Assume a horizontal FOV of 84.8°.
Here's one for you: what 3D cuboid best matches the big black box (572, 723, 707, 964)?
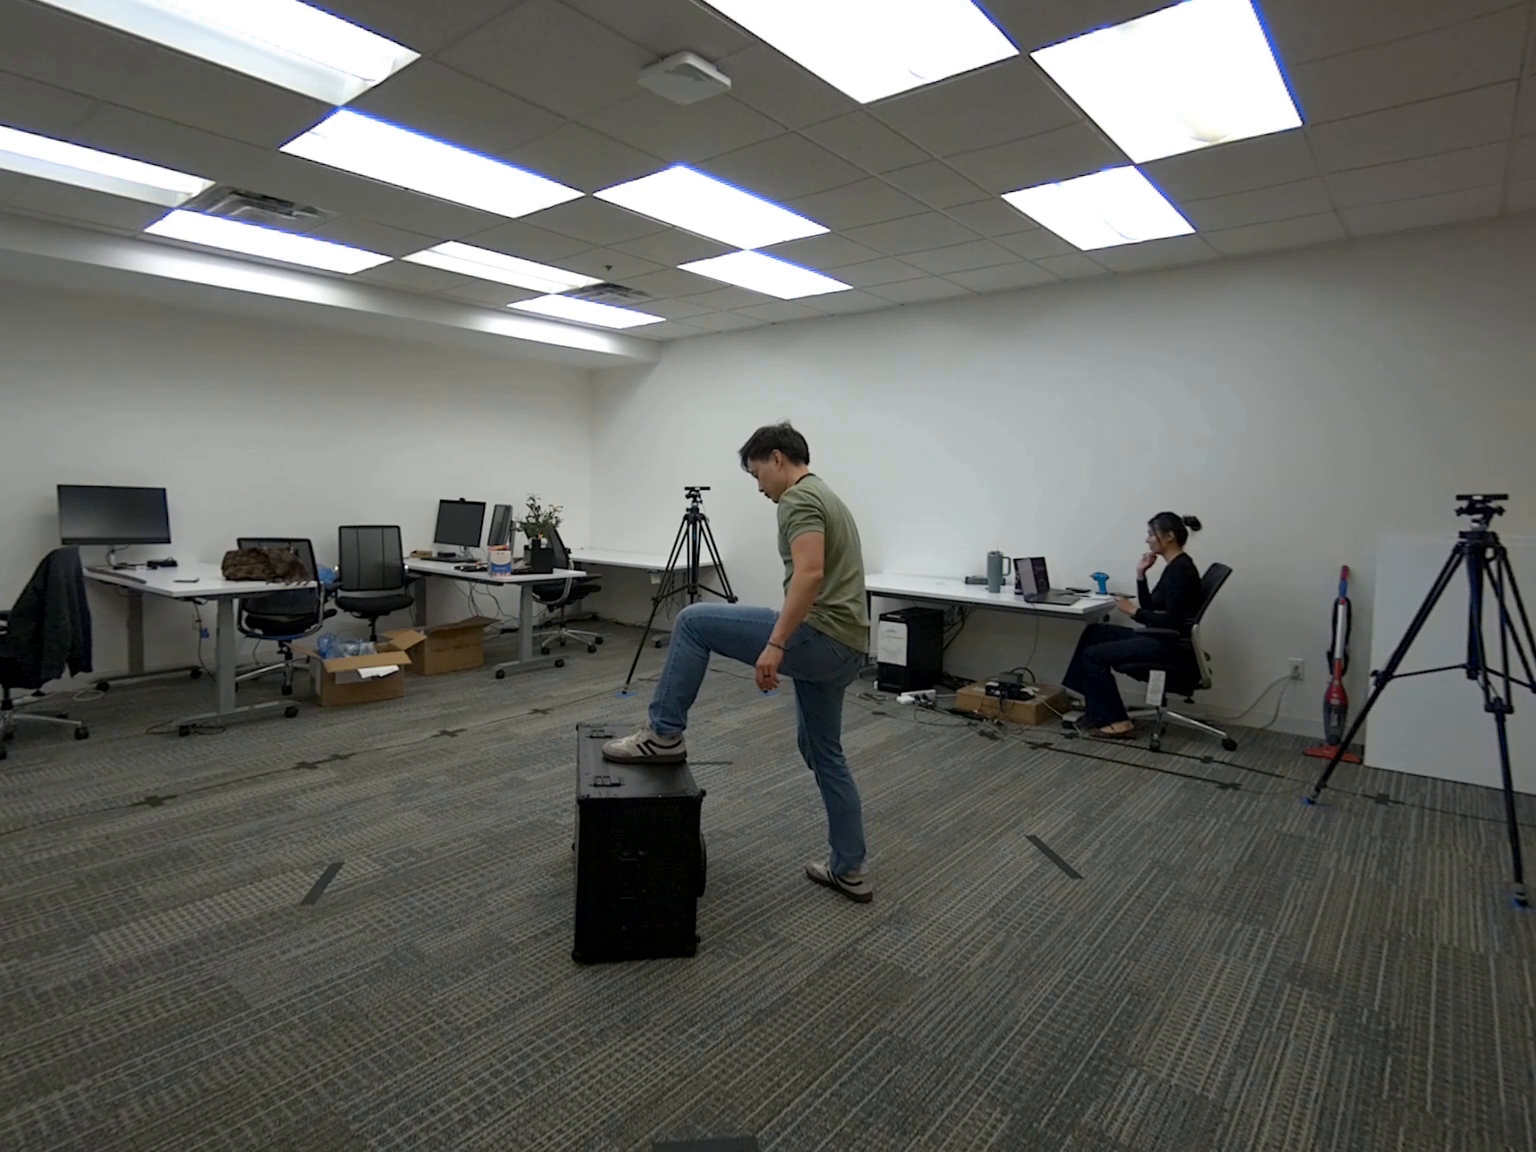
[{"bbox_3d":[-0.466,0.830,2.884,0.391,0.519,0.876,1,5,-13],"label":"big black box"}]
